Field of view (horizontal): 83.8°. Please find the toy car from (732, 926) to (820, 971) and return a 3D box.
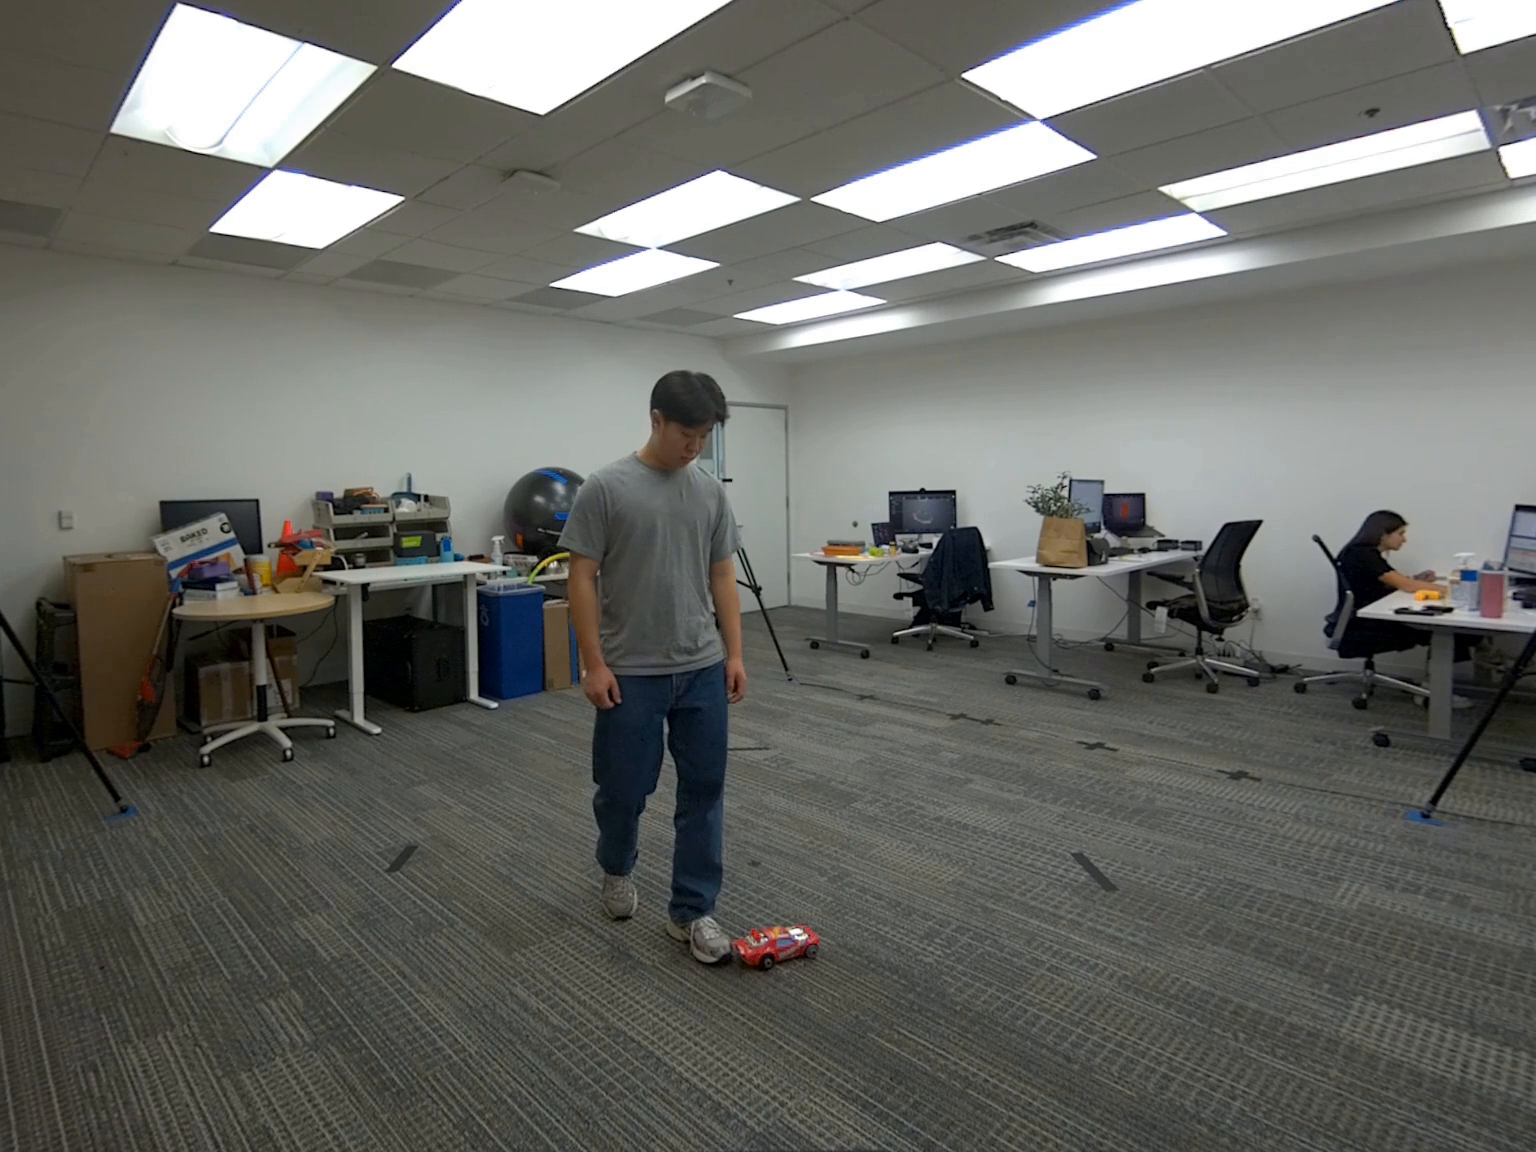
[{"bbox_3d":[0.024,1.078,2.496,0.248,0.083,0.133,9,1,-23],"label":"toy car"}]
